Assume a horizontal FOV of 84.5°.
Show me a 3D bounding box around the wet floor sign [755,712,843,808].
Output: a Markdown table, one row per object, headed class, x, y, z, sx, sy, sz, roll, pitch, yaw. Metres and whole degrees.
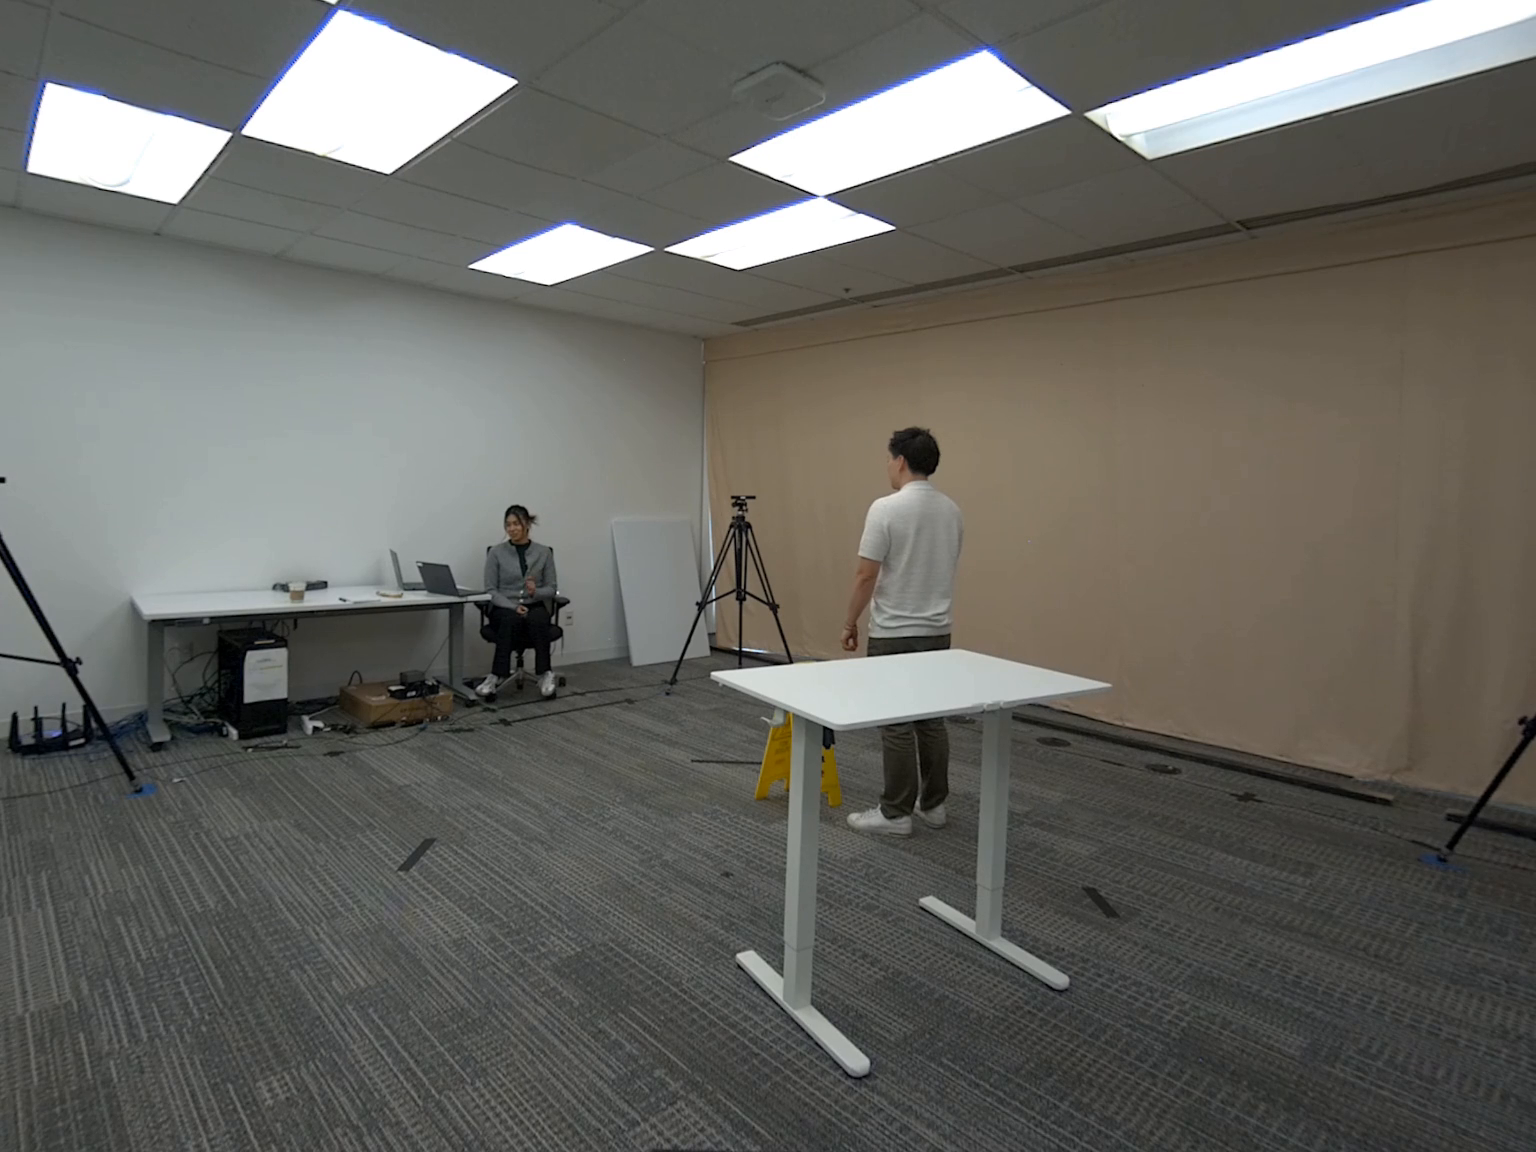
| class | x | y | z | sx | sy | sz | roll | pitch | yaw |
| --- | --- | --- | --- | --- | --- | --- | --- | --- | --- |
| wet floor sign | 0.142 | 0.719 | 3.864 | 0.276 | 0.645 | 0.297 | -1 | 4 | -44 |
